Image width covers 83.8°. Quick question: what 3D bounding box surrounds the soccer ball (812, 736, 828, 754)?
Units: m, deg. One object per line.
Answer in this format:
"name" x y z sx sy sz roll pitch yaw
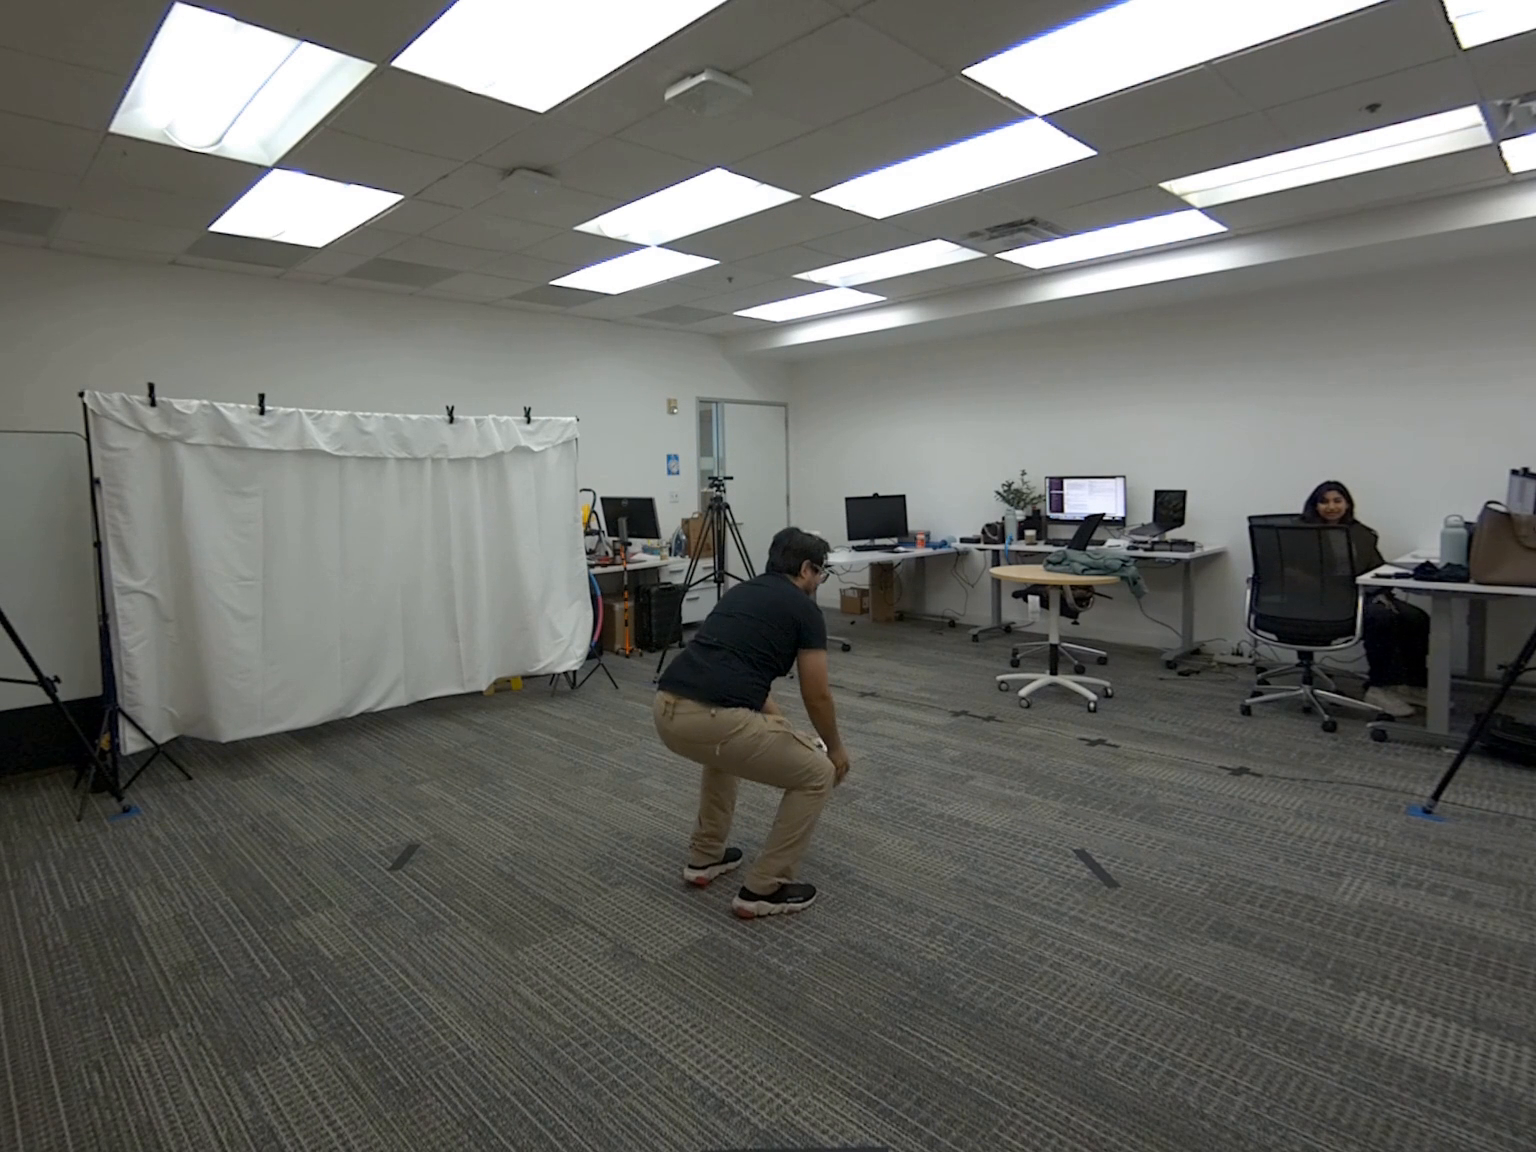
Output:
"soccer ball" 0.204 0.684 3.155 0.187 0.187 0.188 -1 5 -2
